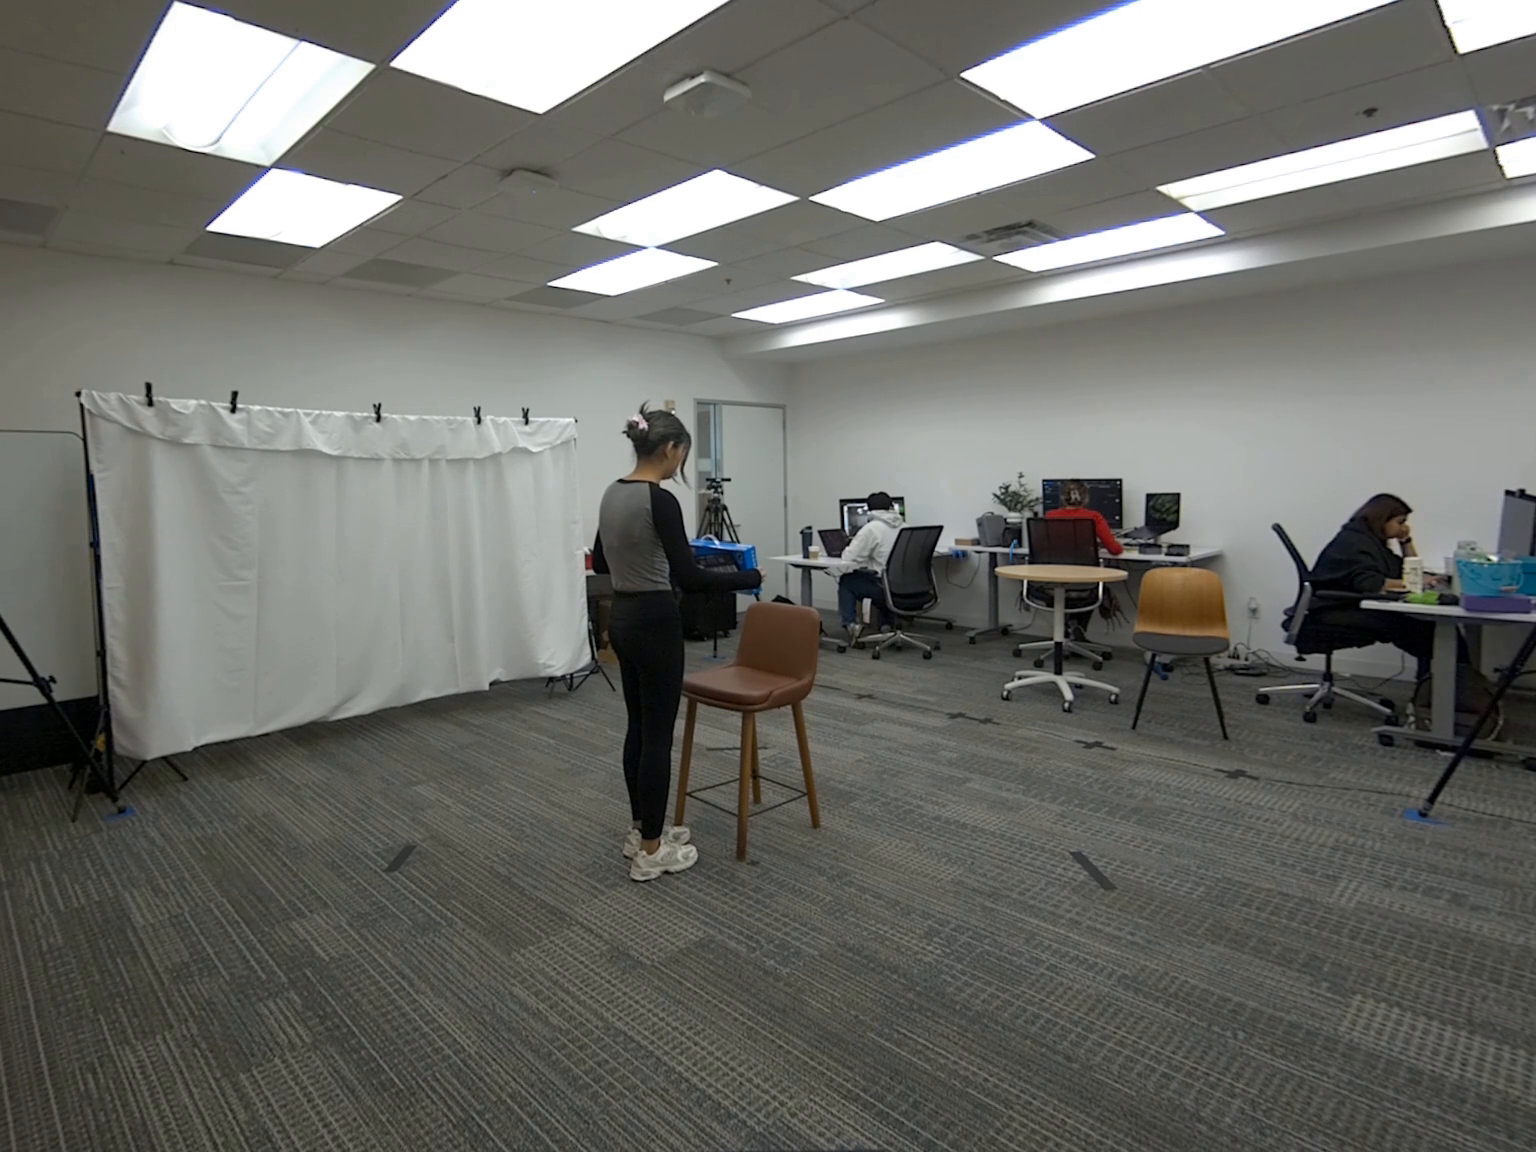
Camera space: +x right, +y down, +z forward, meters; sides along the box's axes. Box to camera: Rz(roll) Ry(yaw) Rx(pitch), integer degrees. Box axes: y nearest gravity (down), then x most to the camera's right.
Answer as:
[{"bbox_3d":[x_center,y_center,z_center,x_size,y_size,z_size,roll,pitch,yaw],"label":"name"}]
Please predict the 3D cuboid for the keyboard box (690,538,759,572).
[{"bbox_3d":[-0.209,-0.039,3.224,0.058,0.173,0.451,-21,19,-40],"label":"keyboard box"}]
